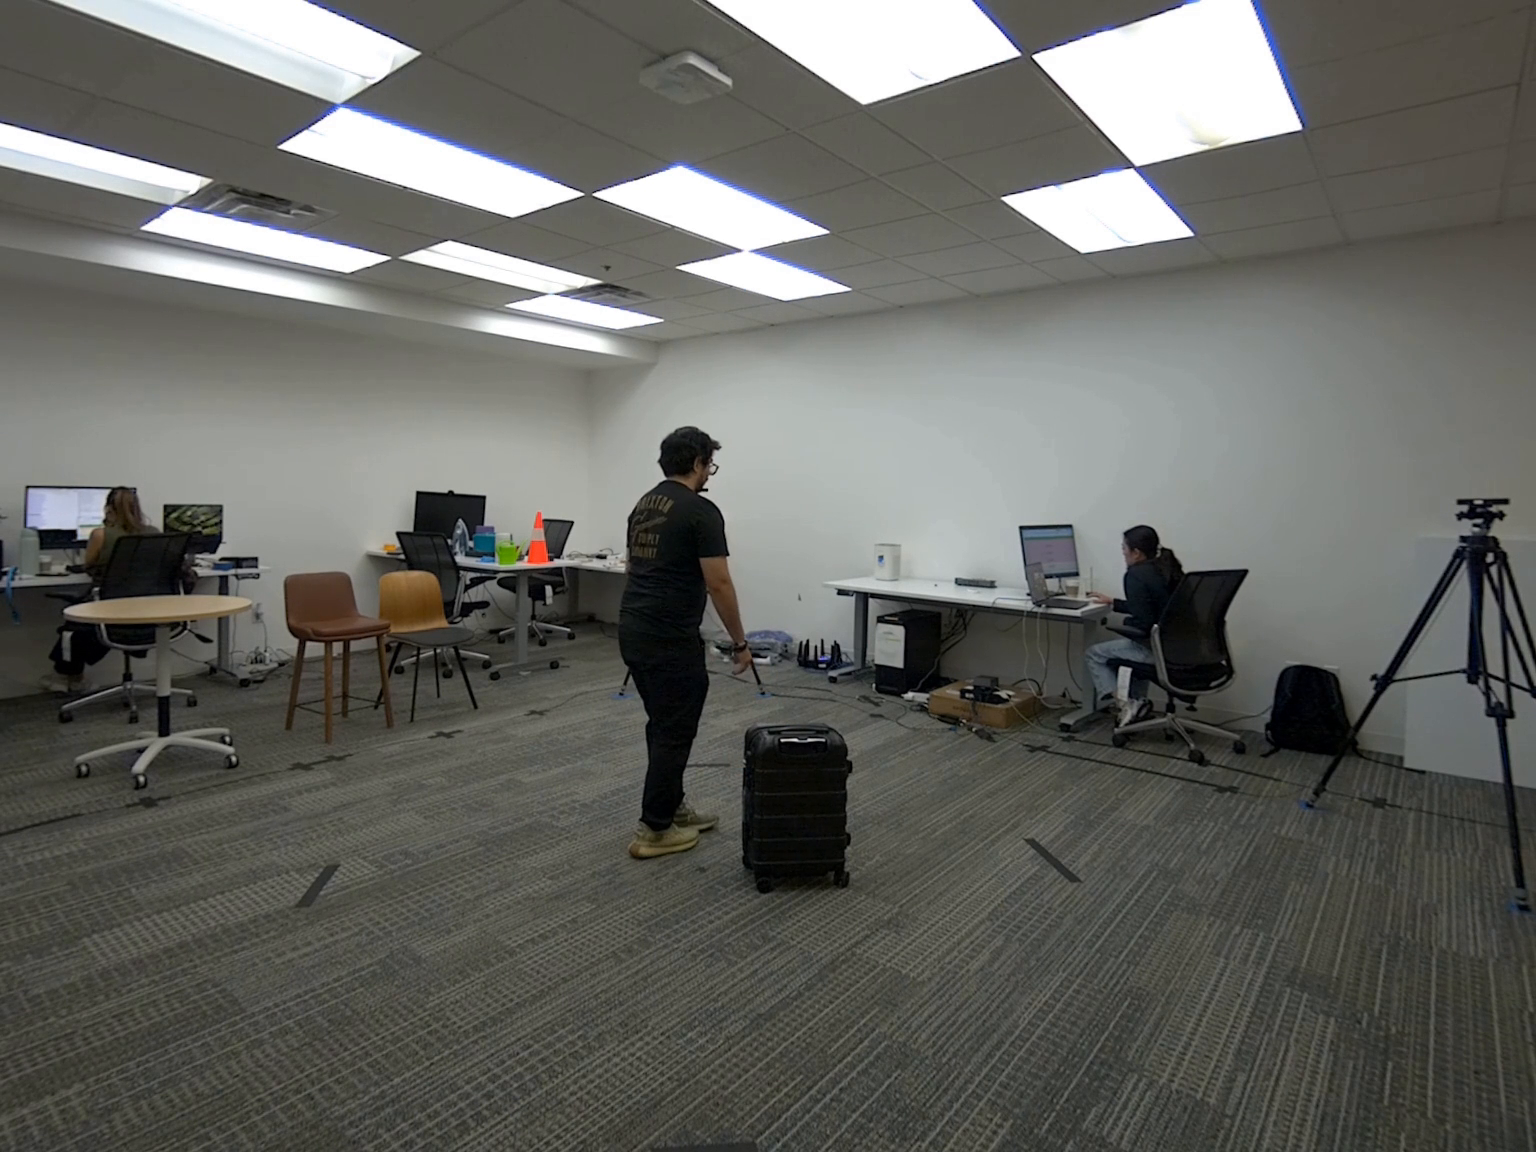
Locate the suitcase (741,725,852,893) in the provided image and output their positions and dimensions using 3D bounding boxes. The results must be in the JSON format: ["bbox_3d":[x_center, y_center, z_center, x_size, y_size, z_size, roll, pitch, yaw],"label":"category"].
[{"bbox_3d":[0.089,0.805,3.050,0.372,0.548,0.251,0,3,-9],"label":"suitcase"}]
